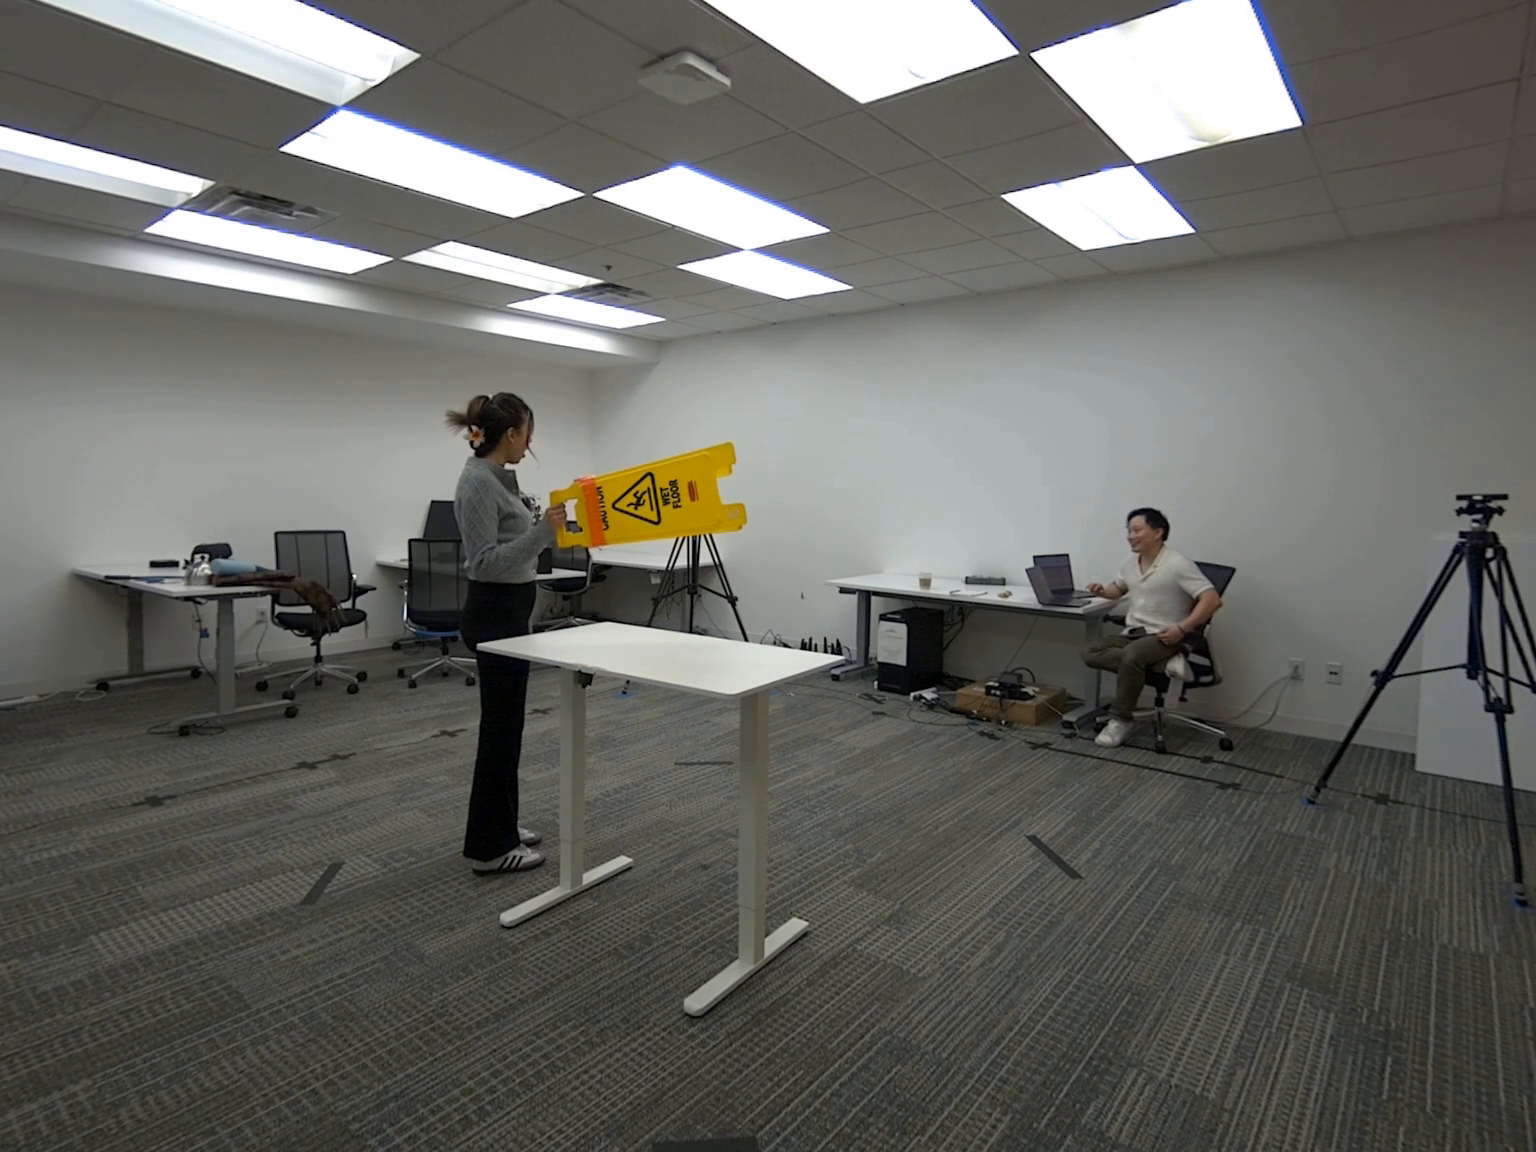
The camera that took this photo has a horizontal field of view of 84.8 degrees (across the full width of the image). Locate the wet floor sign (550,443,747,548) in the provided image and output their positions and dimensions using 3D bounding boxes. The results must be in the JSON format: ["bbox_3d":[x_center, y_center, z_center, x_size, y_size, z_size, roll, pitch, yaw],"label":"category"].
[{"bbox_3d":[-0.436,-0.247,2.914,0.644,0.283,0.290,-10,0,-3],"label":"wet floor sign"}]
